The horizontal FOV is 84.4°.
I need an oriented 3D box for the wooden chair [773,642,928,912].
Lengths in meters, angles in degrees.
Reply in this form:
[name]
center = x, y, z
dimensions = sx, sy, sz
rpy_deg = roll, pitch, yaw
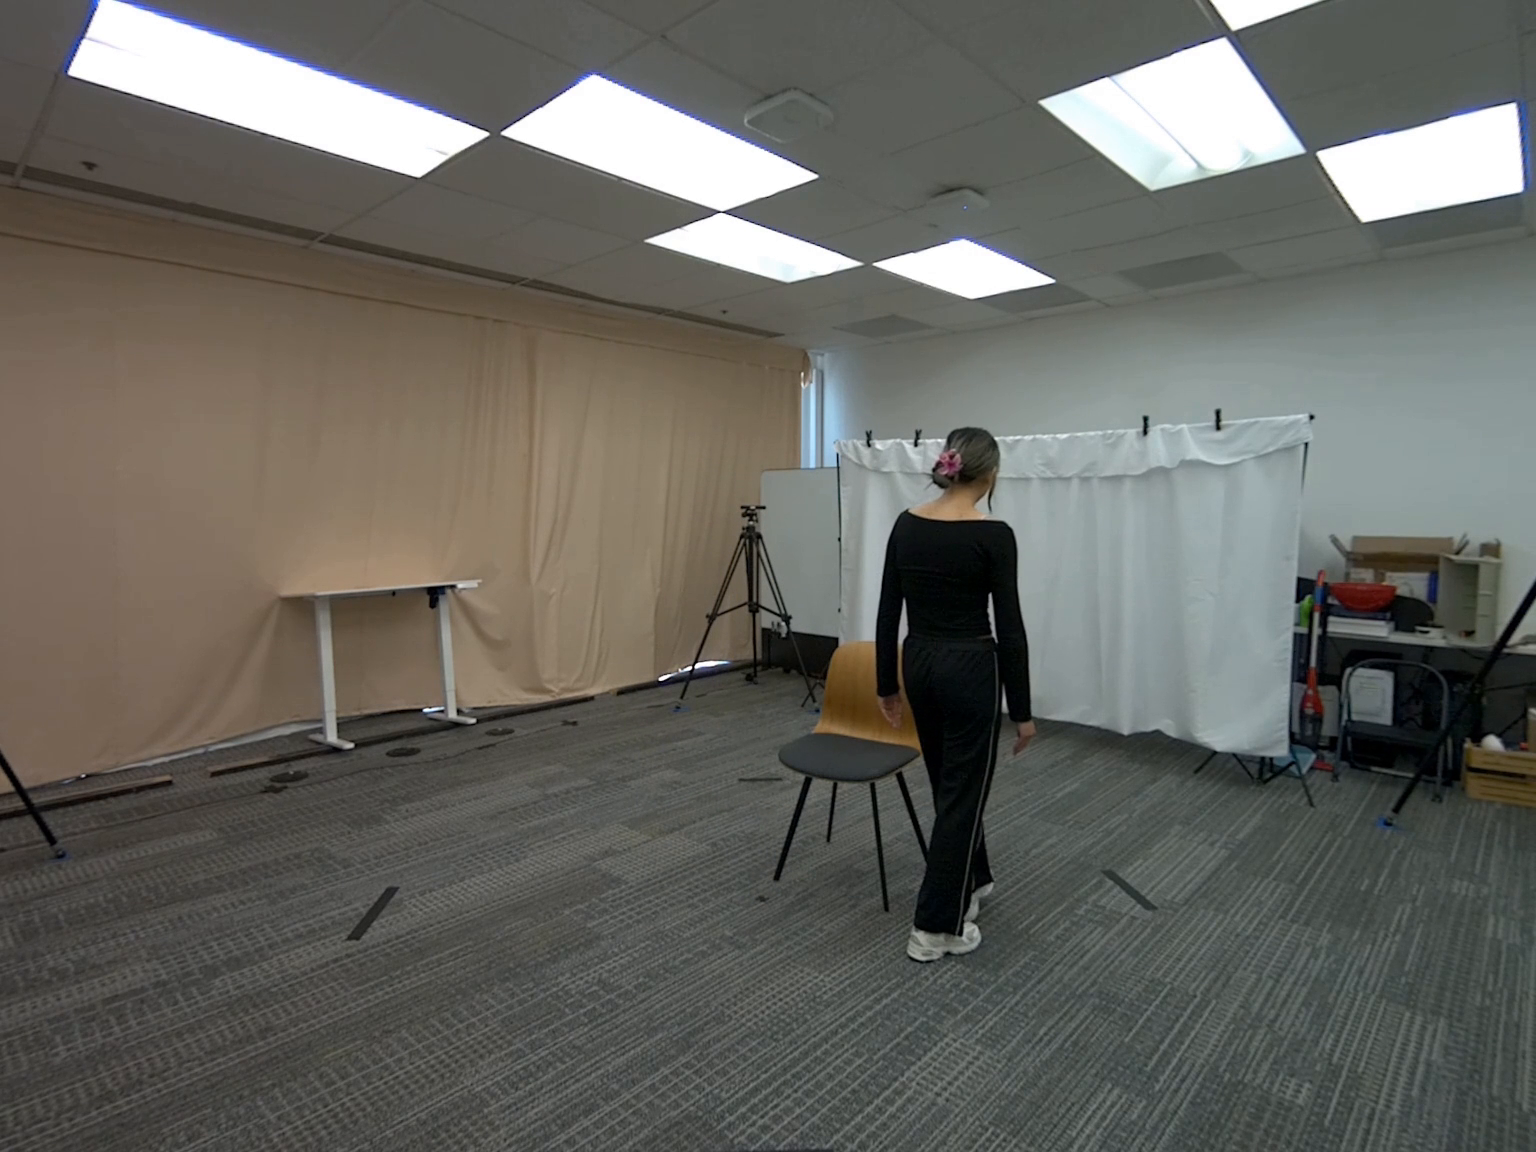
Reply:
[wooden chair]
center = 0.323, 0.700, 3.155
dimensions = 0.493, 0.877, 0.507
rpy_deg = 2, 0, 32
